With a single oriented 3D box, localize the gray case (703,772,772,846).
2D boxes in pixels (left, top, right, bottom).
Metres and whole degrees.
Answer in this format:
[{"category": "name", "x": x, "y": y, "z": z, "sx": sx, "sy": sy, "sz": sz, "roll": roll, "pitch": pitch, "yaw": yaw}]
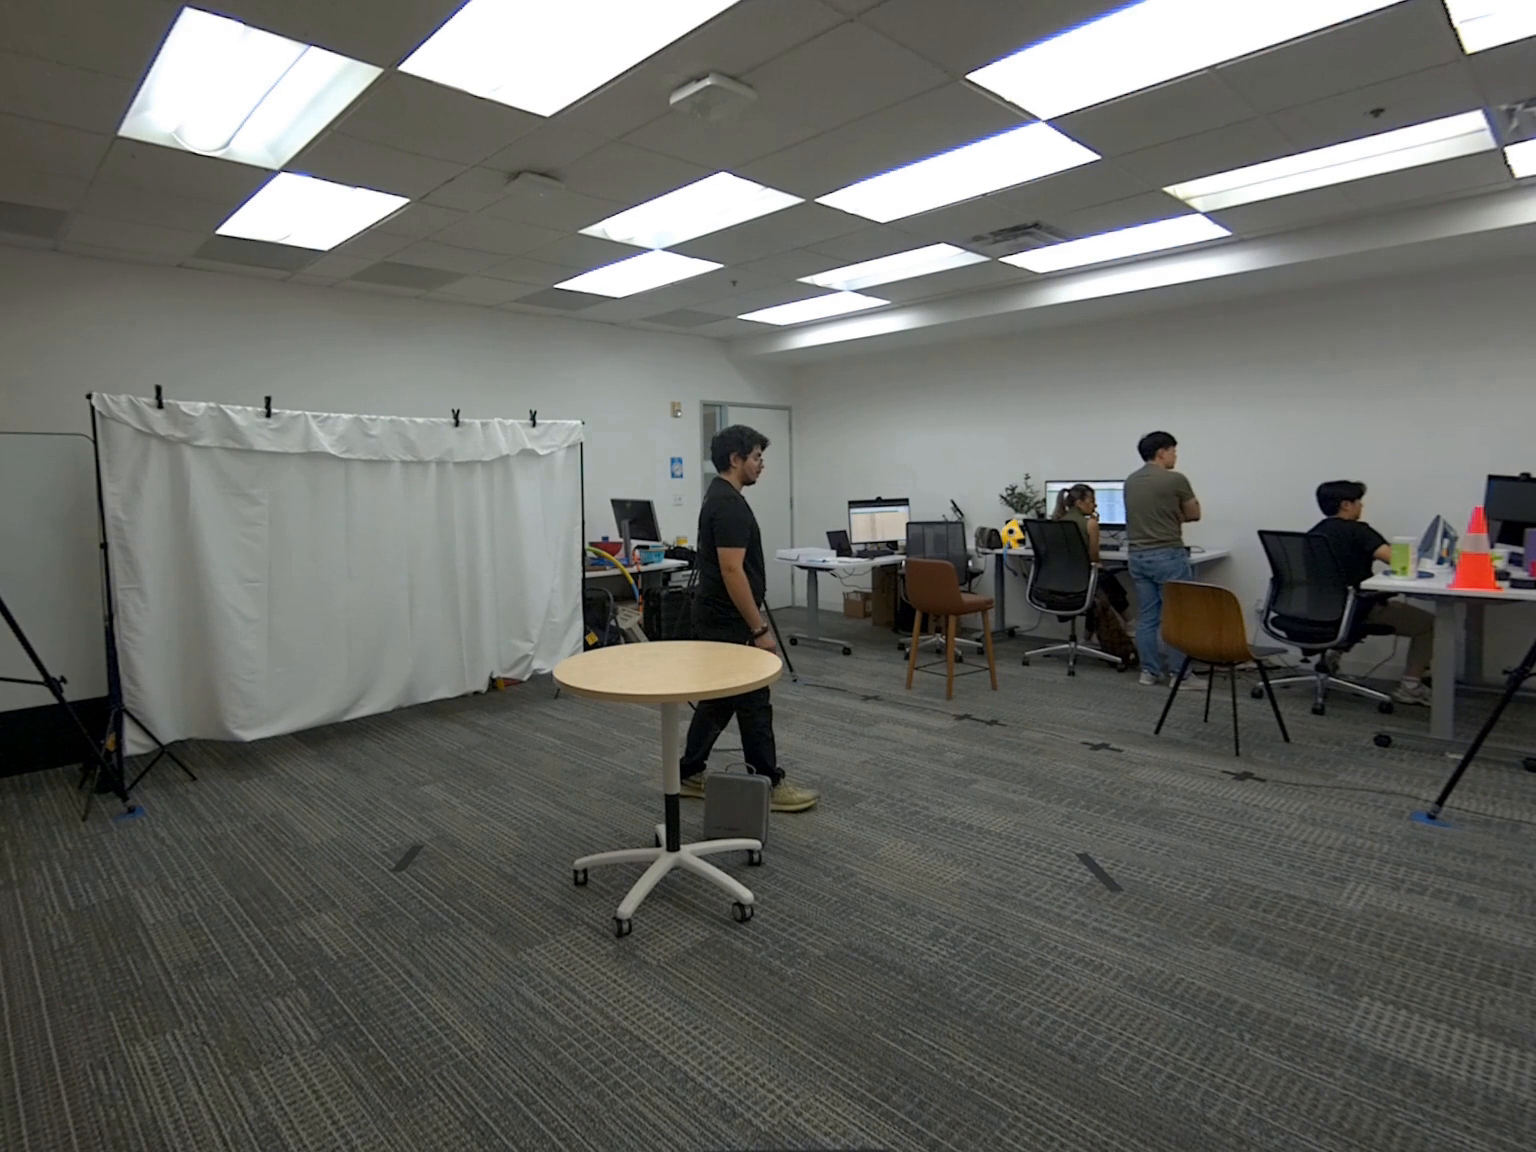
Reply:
[{"category": "gray case", "x": -0.124, "y": 0.895, "z": 3.318, "sx": 0.261, "sy": 0.262, "sz": 0.102, "roll": 1, "pitch": -7, "yaw": 19}]
